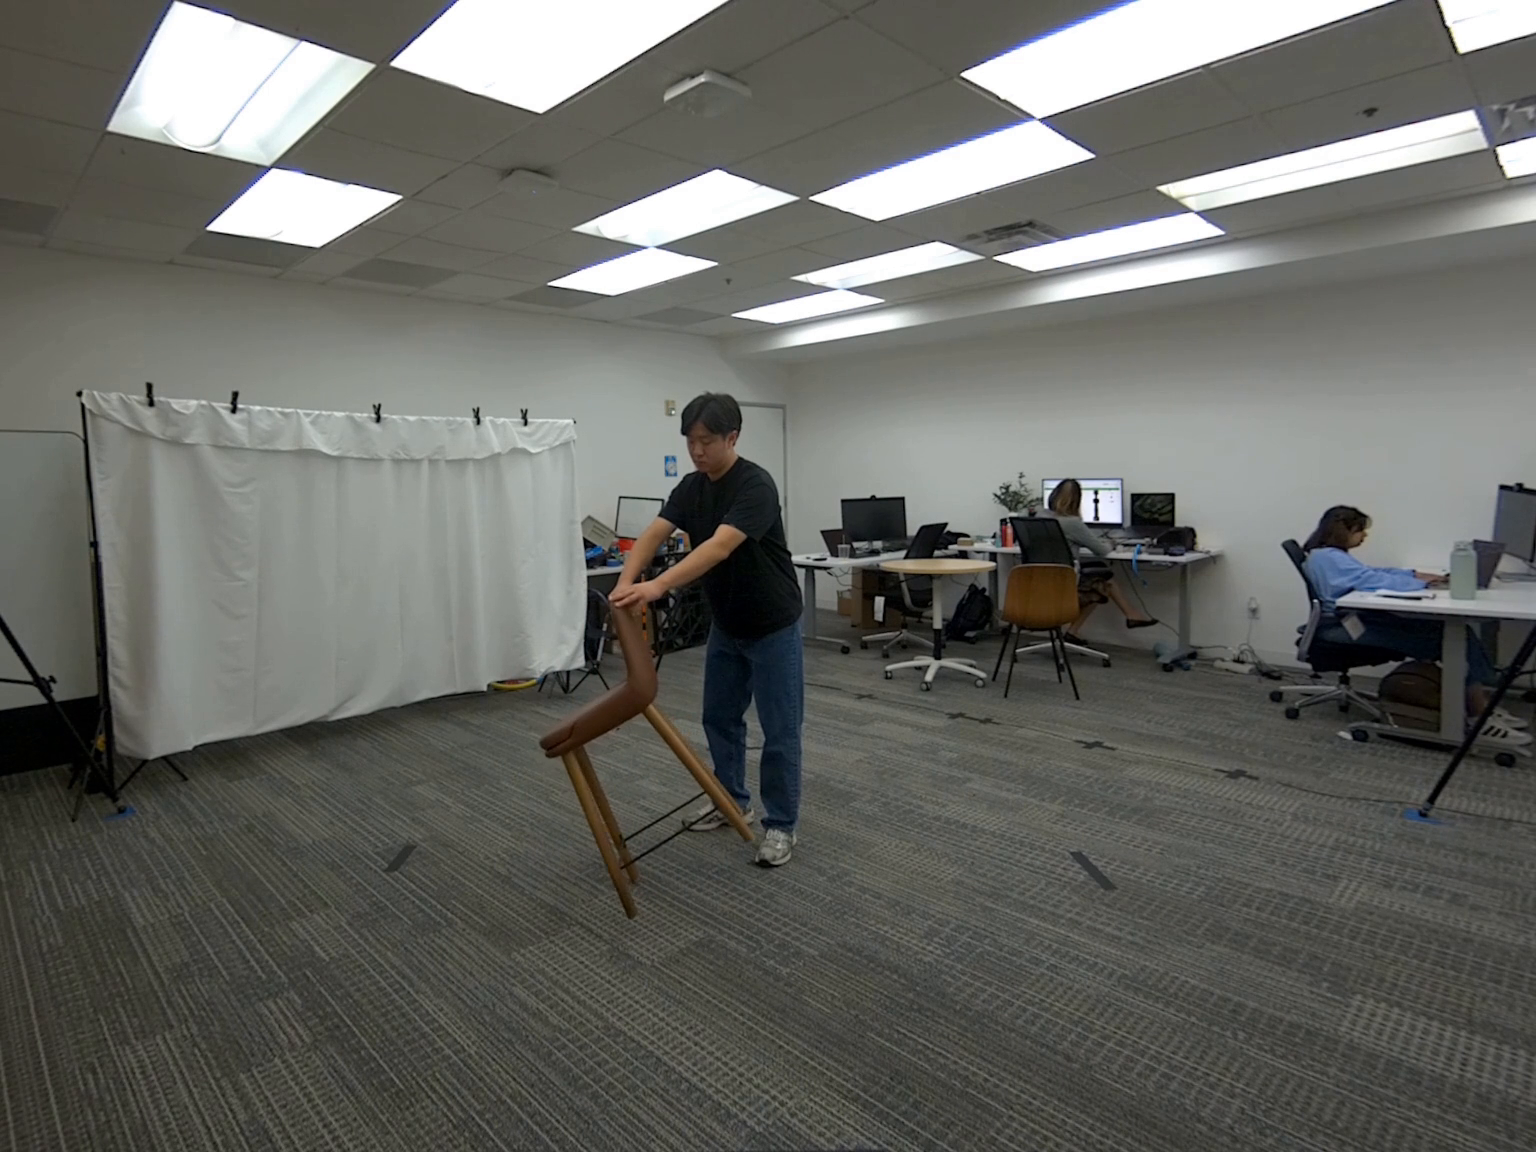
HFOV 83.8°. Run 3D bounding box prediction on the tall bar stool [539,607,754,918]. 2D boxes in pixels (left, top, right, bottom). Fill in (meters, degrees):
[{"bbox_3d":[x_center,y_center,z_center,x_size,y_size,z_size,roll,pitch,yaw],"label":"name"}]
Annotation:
[{"bbox_3d":[-0.471,0.566,2.835,0.466,0.892,0.457,-28,-2,-8],"label":"tall bar stool"}]
